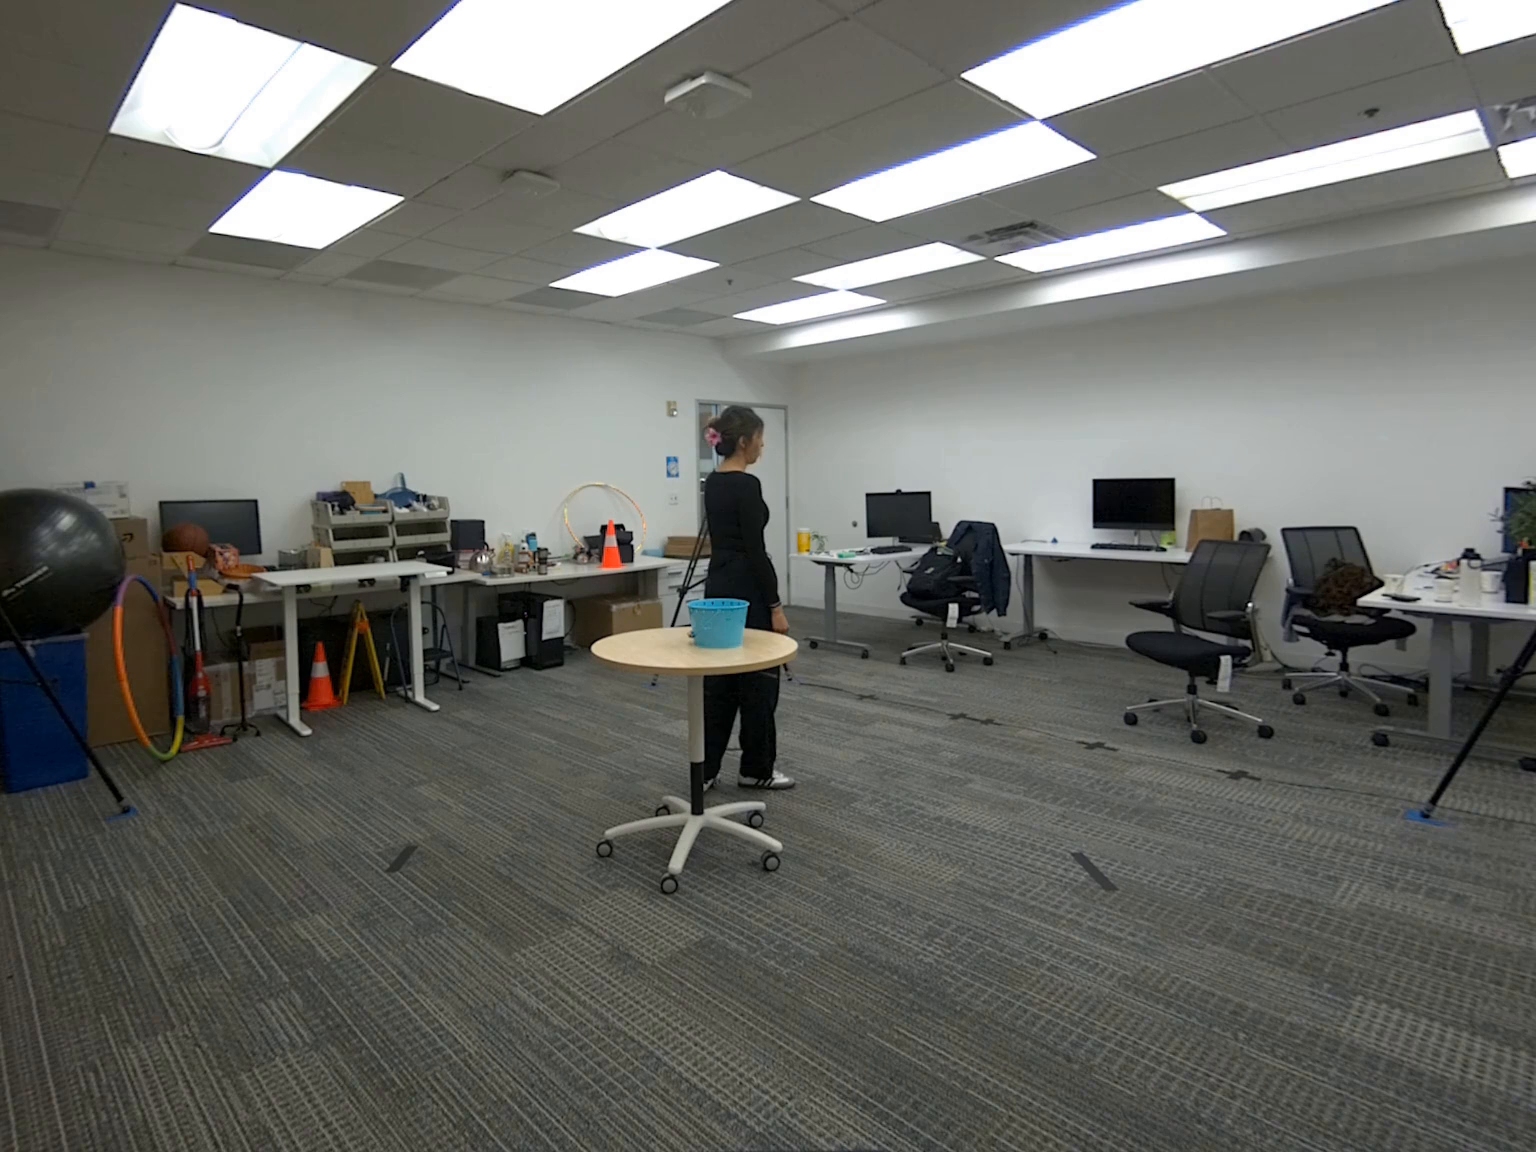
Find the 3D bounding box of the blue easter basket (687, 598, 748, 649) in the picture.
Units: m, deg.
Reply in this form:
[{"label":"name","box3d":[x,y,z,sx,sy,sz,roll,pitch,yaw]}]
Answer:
[{"label":"blue easter basket","box3d":[-0.197,0.181,3.200,0.243,0.155,0.245,0,6,-2]}]
